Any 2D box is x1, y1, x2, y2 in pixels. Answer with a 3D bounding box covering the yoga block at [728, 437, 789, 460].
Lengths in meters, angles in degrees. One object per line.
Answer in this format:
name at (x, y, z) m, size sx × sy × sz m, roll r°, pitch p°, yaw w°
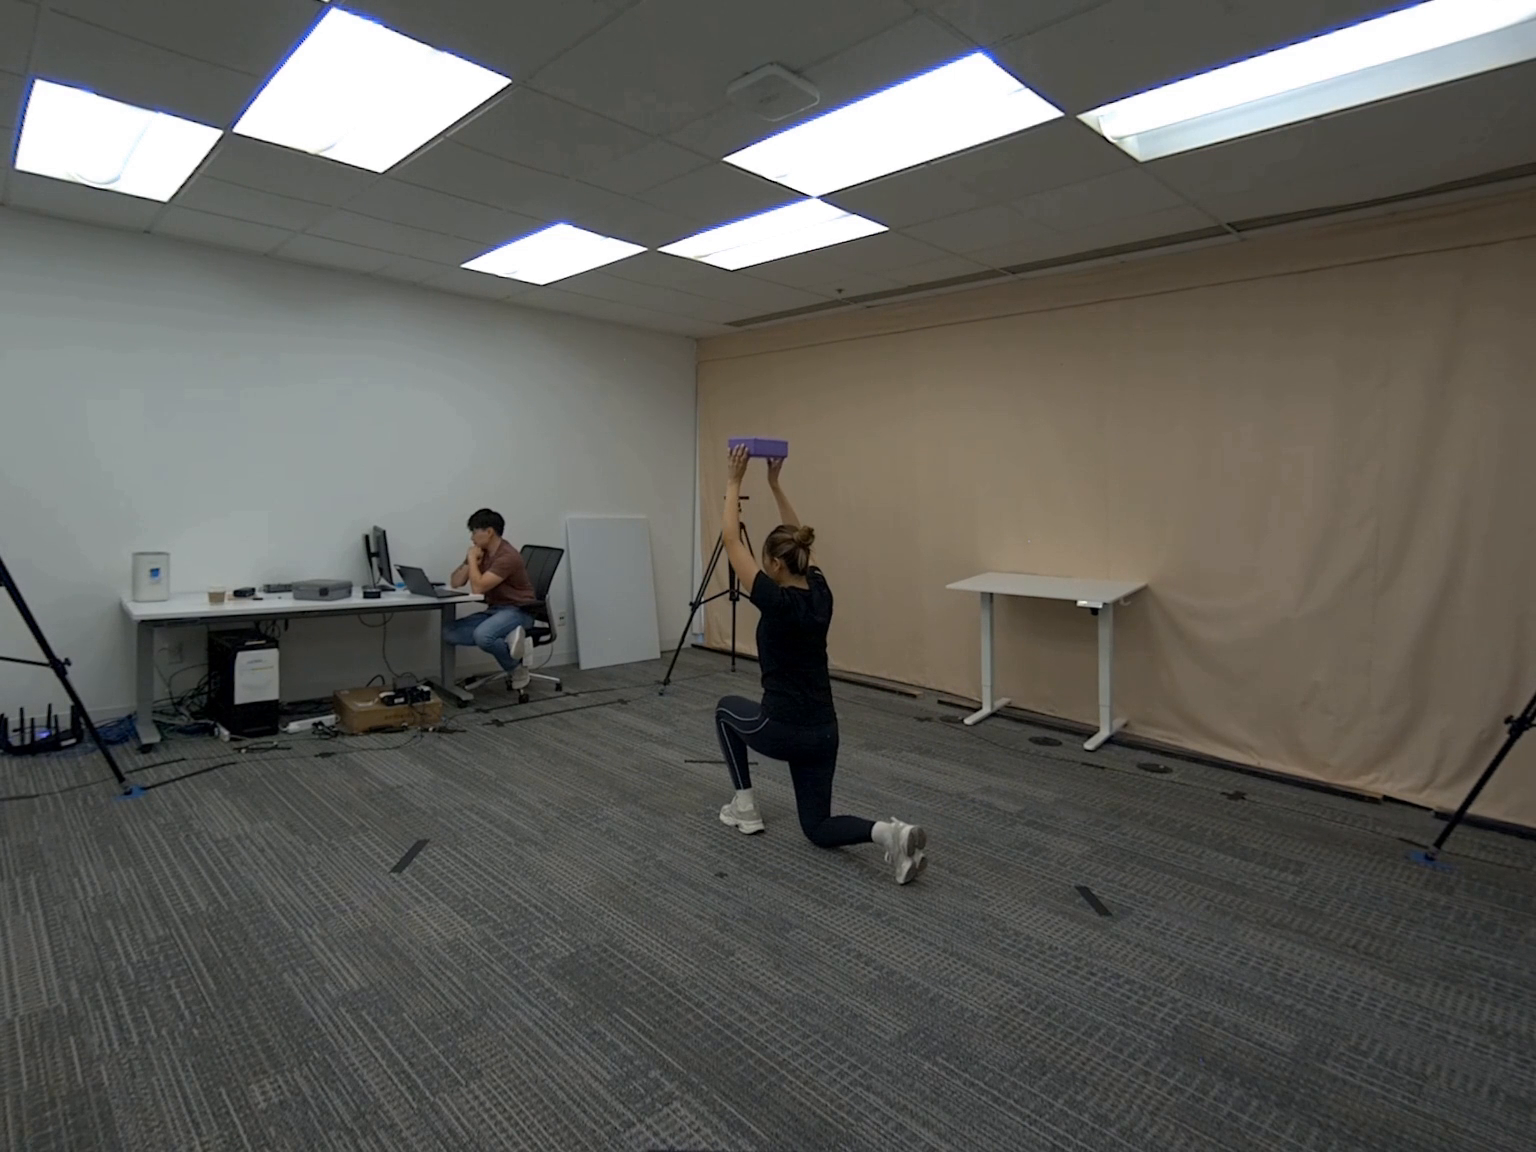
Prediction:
yoga block at (-0.048, -0.540, 3.476) m, size 0.153 × 0.076 × 0.224 m, roll 6°, pitch 8°, yaw 37°
